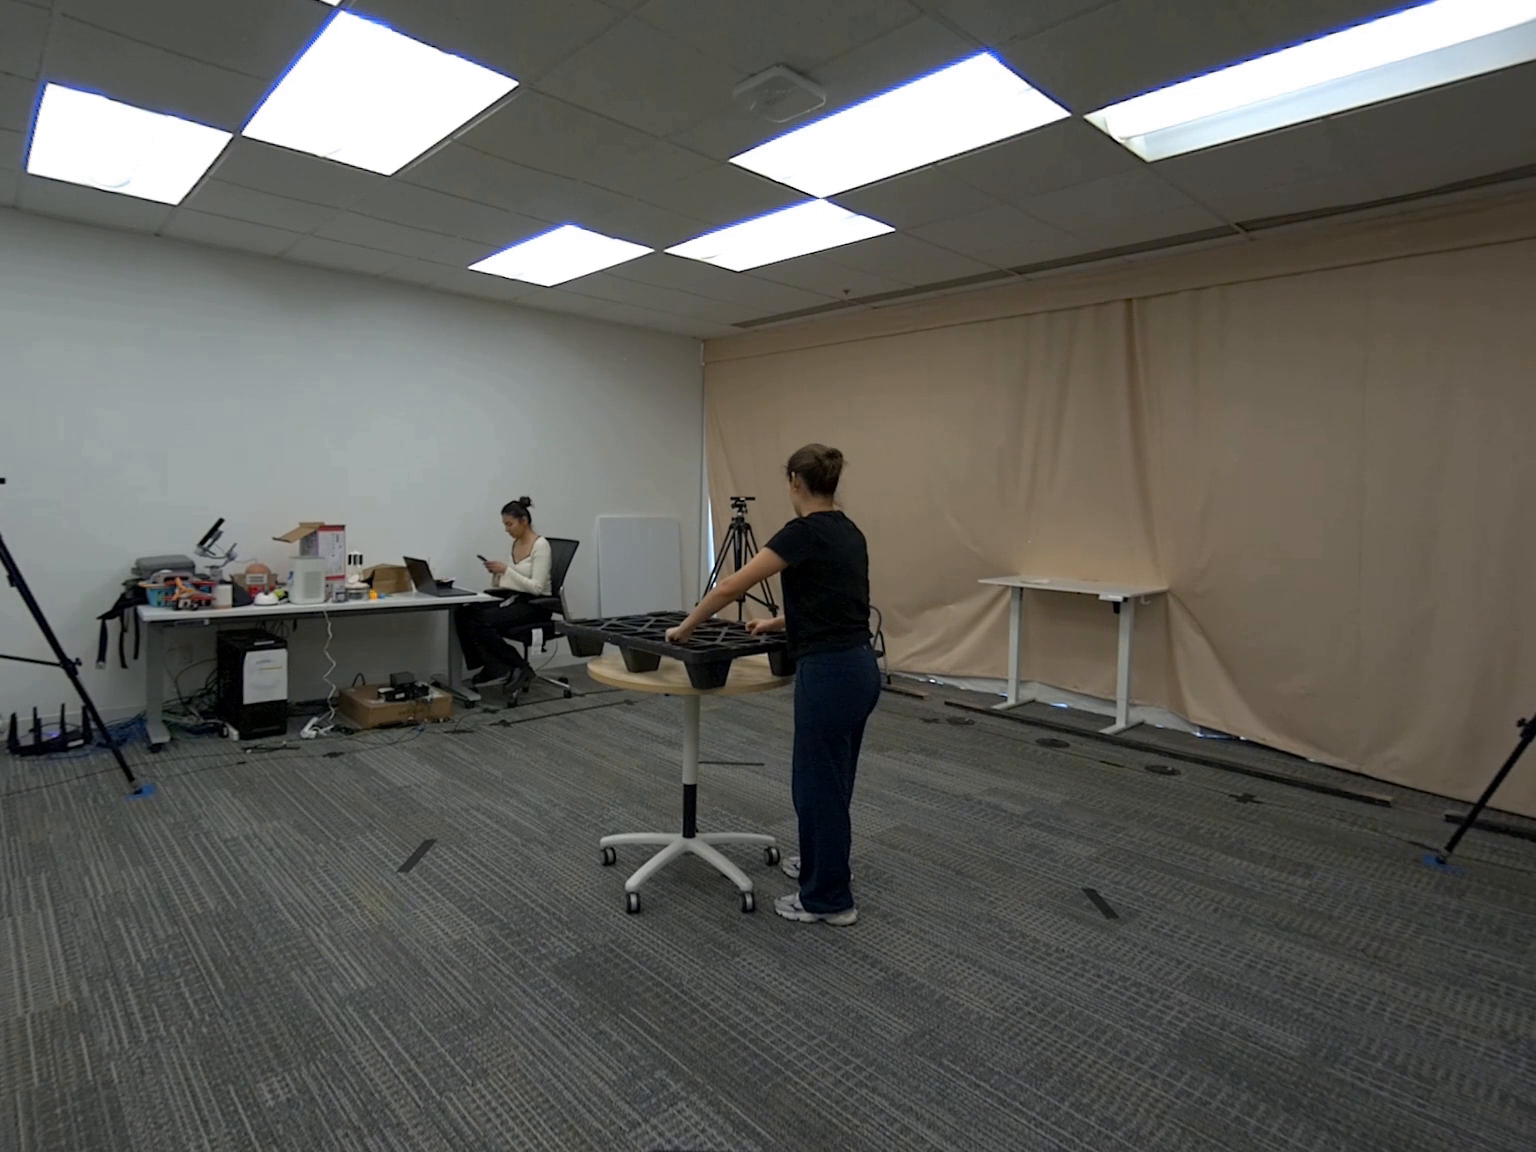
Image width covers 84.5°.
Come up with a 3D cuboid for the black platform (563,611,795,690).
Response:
[{"bbox_3d":[-0.314,0.261,3.044,0.826,0.143,0.591,6,7,44],"label":"black platform"}]
